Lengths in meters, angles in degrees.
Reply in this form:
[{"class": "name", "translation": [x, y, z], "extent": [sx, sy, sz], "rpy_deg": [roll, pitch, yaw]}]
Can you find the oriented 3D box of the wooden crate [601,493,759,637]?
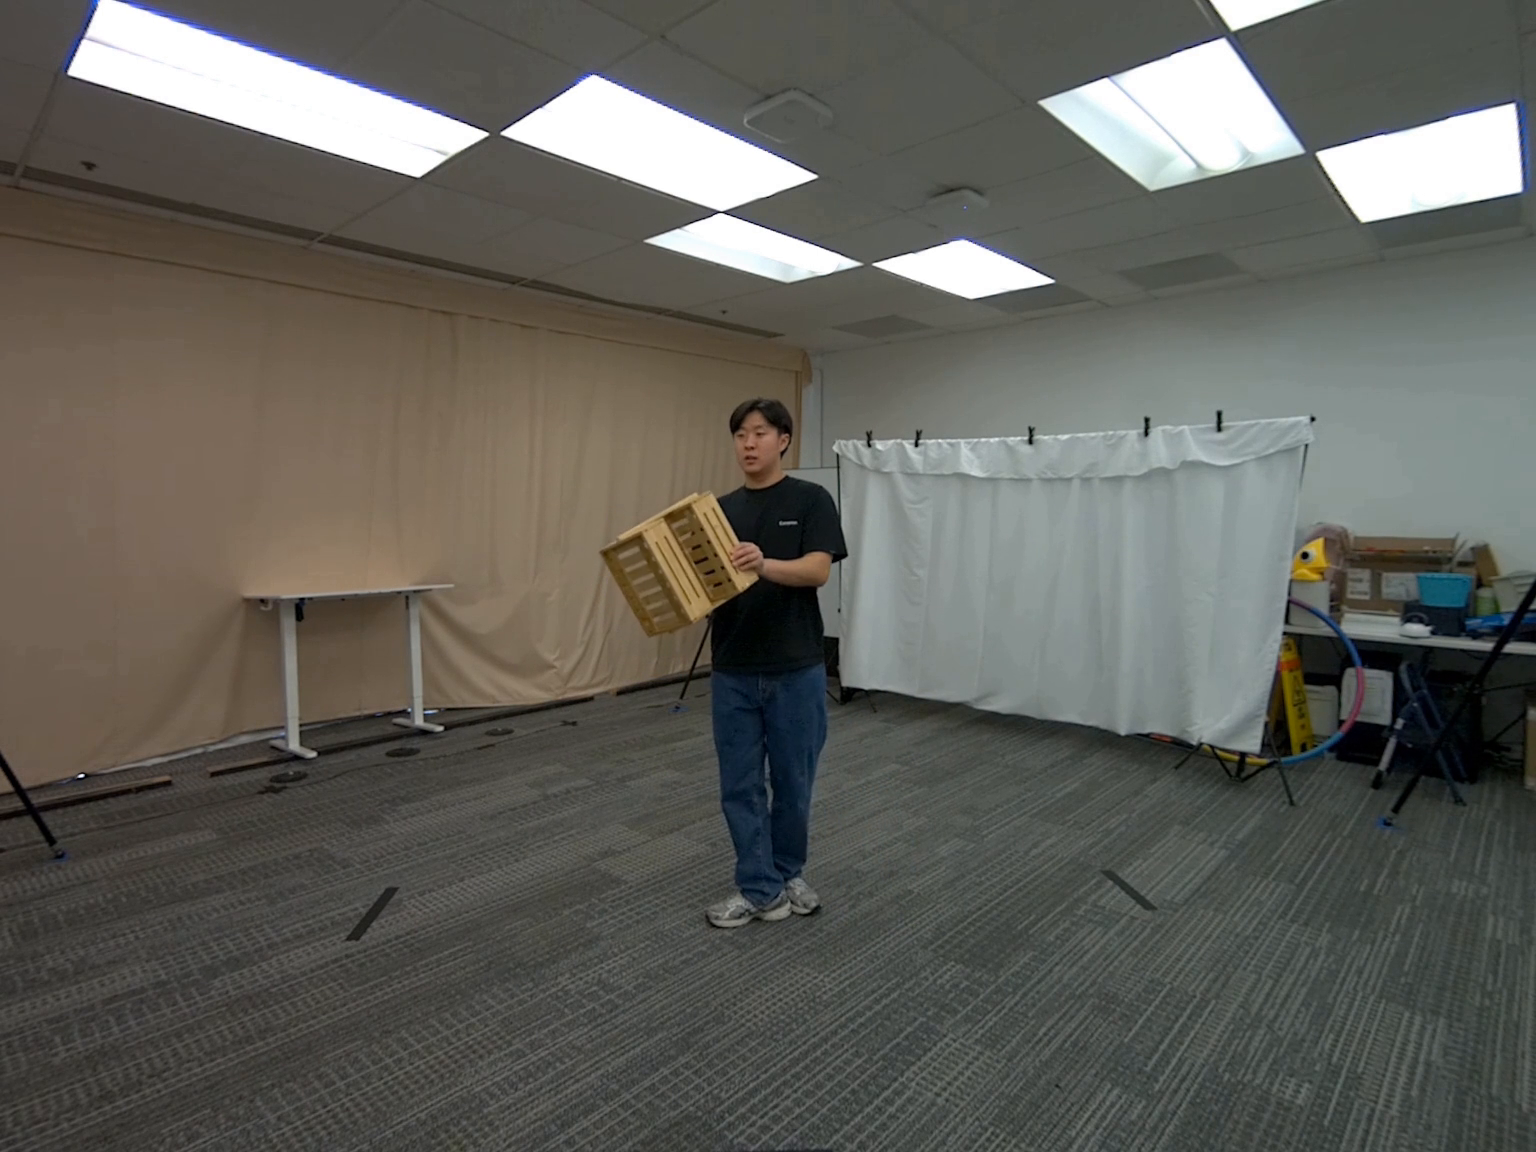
[{"class": "wooden crate", "translation": [-0.270, -0.031, 2.520], "extent": [0.309, 0.322, 0.269], "rpy_deg": [-20, 12, 48]}]
